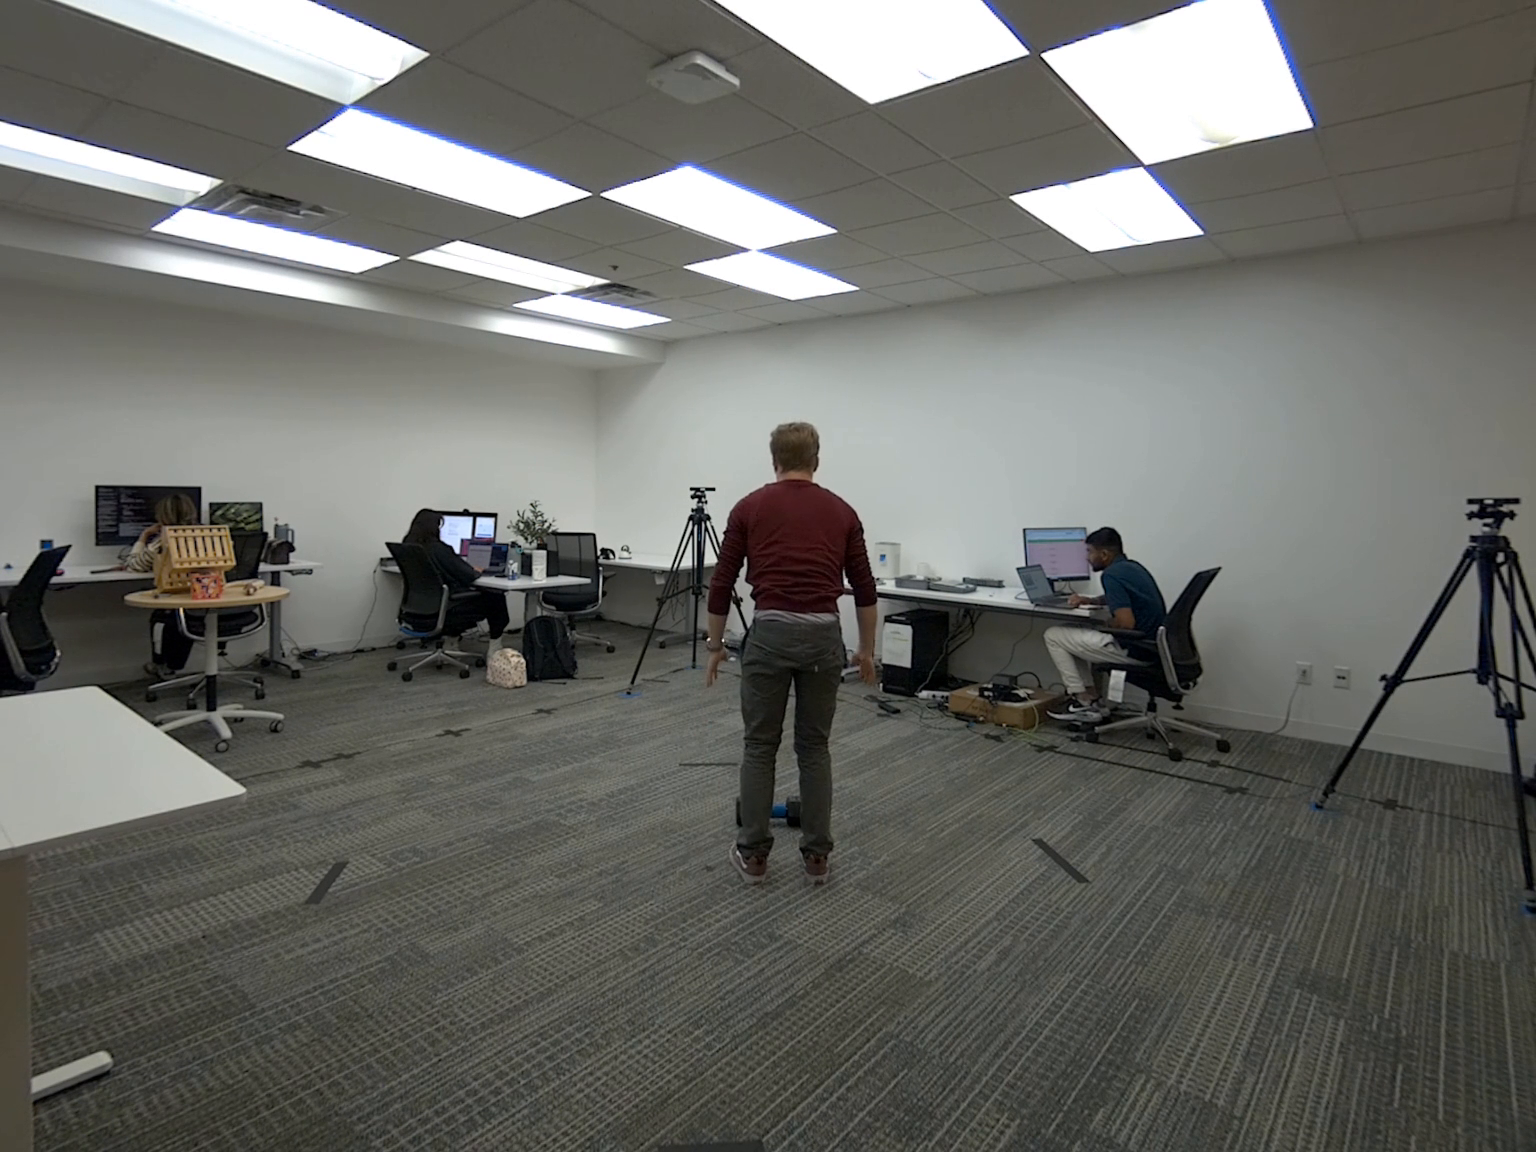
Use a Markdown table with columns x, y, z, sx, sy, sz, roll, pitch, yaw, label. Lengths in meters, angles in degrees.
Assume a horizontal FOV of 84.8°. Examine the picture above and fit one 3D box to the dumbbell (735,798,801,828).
| x | y | z | sx | sy | sz | roll | pitch | yaw | label |
| --- | --- | --- | --- | --- | --- | --- | --- | --- | --- |
| 0.004 | 0.976 | 3.540 | 0.293 | 0.108 | 0.123 | 0 | 4 | -1 | dumbbell |
